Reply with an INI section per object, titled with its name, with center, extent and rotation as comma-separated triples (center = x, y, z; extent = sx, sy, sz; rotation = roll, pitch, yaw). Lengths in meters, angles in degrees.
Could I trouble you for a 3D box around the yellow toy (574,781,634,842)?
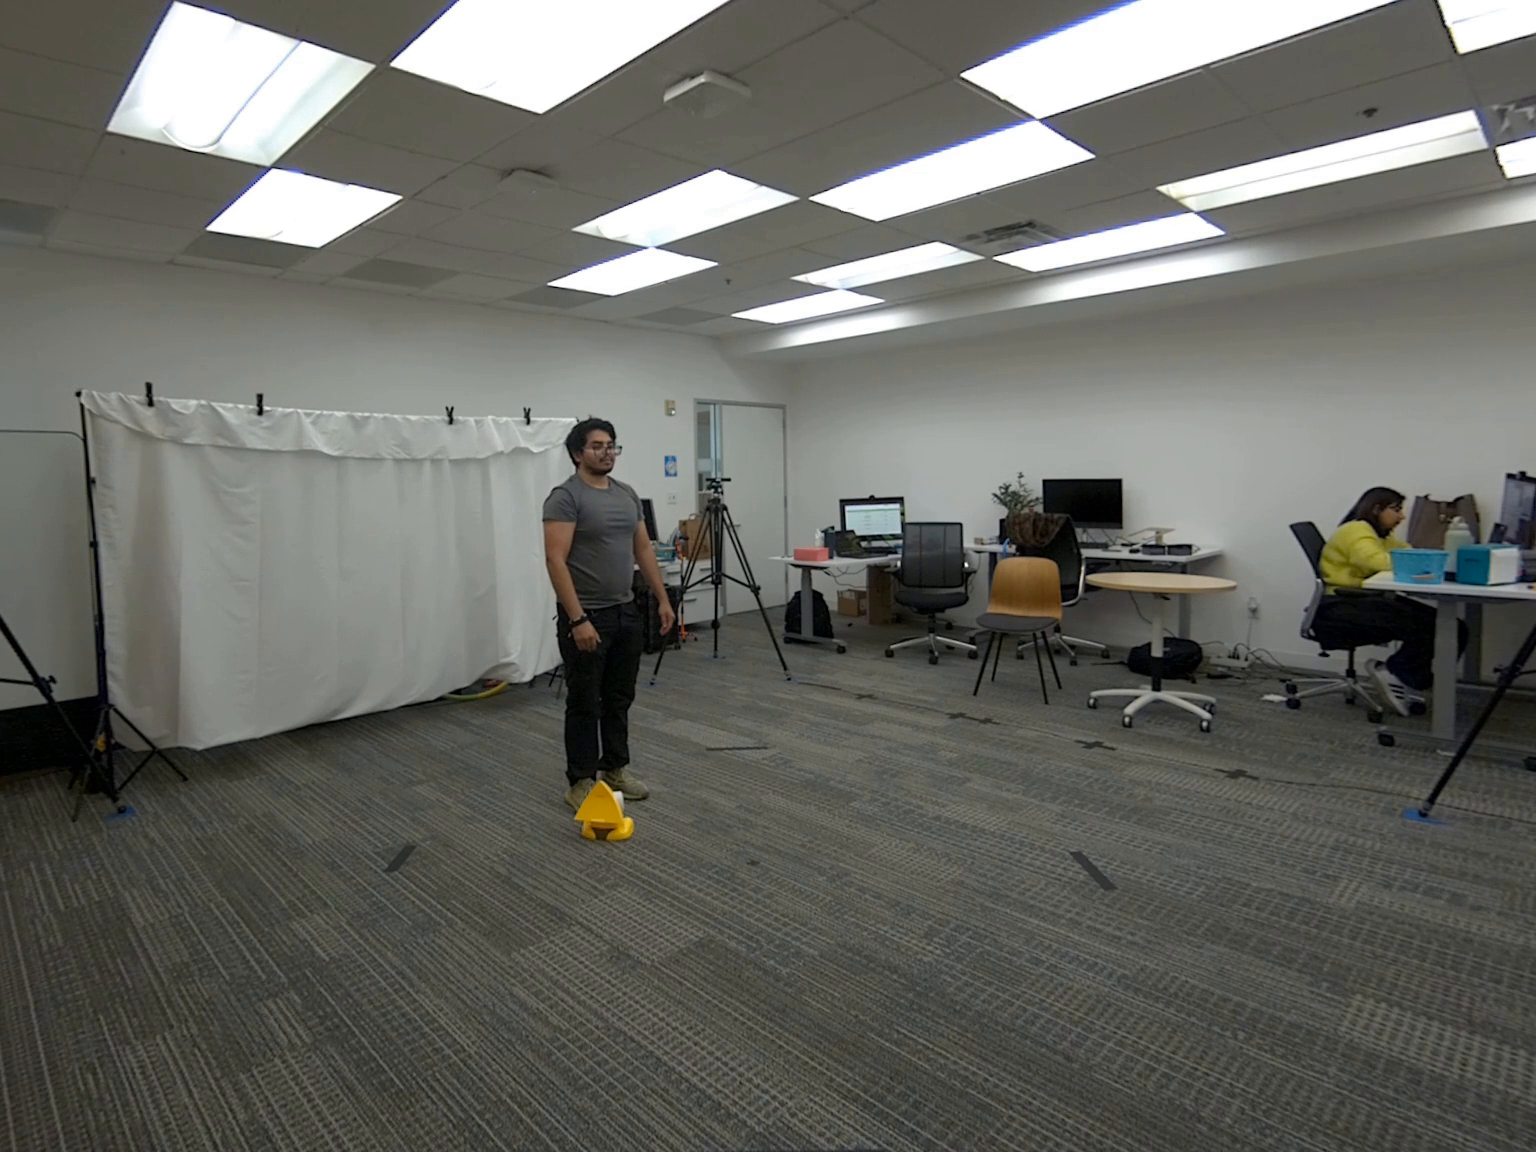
[yellow toy]
center = -0.639, 0.907, 3.397
extent = 0.207, 0.230, 0.191
rotation = -1, 4, 12
